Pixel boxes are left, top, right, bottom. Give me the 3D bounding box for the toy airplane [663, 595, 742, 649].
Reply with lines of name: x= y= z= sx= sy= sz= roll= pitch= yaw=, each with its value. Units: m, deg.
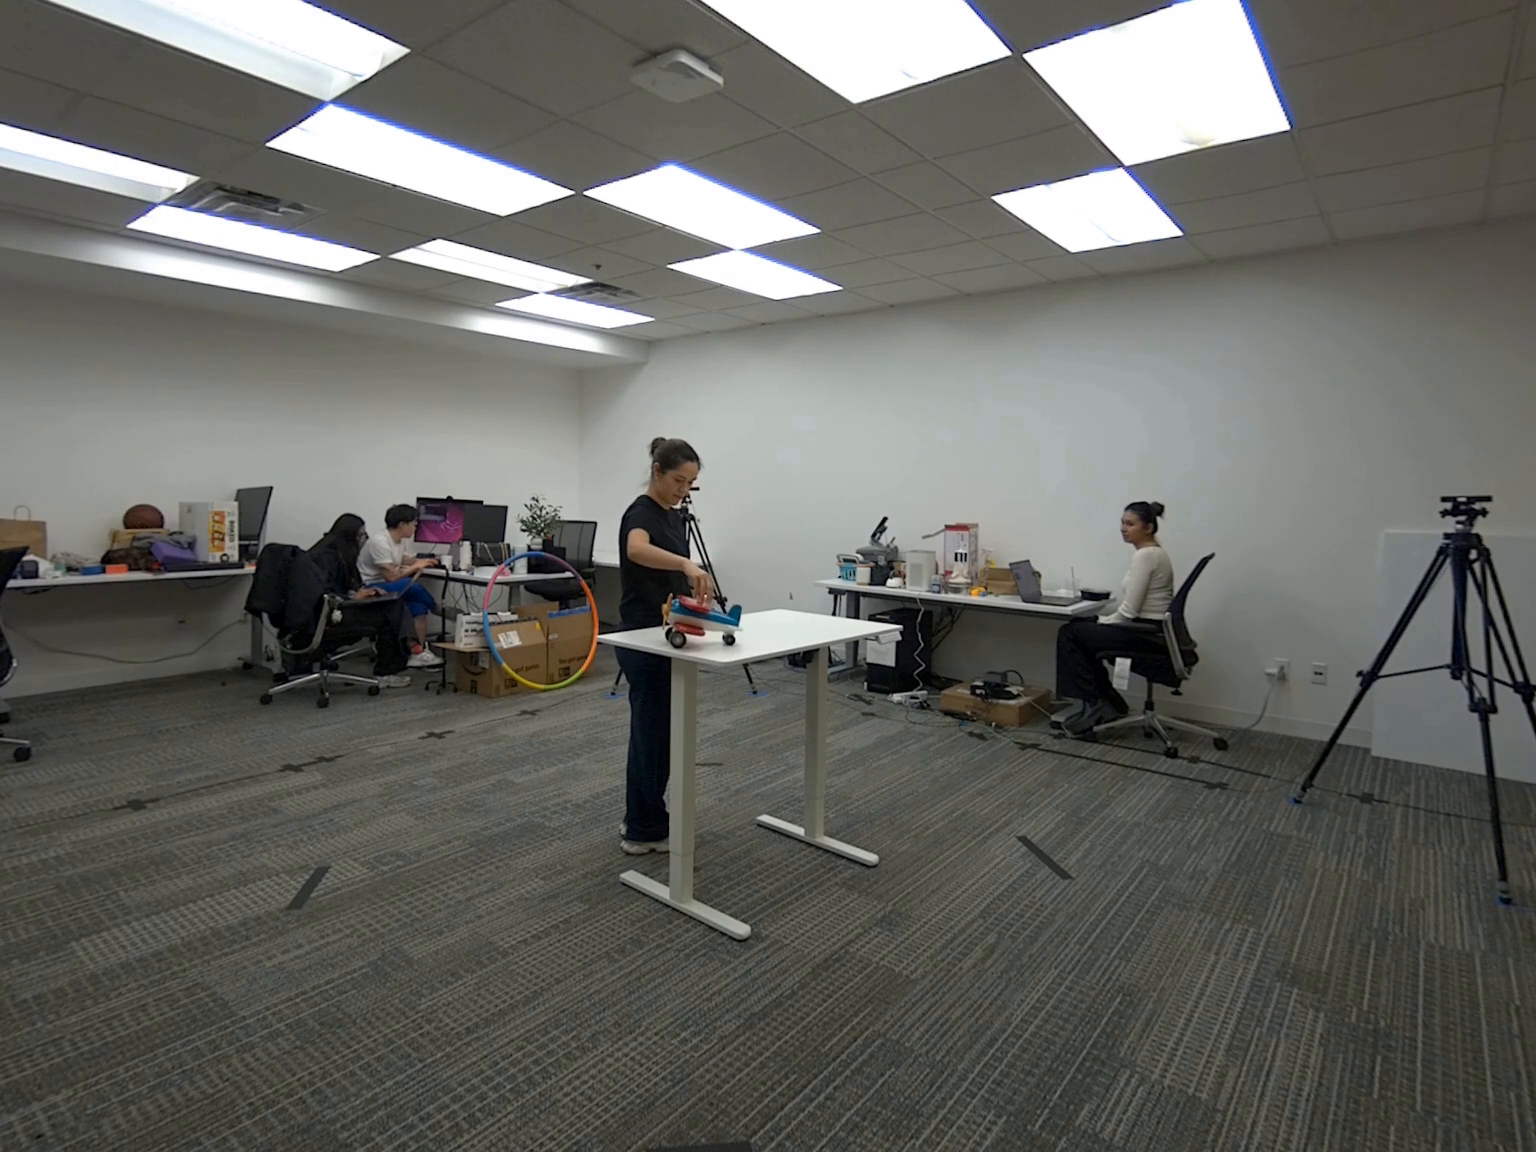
toy airplane: x=-0.210 y=0.142 z=2.775 sx=0.252 sy=0.156 sz=0.259 roll=-3 pitch=5 yaw=-36
